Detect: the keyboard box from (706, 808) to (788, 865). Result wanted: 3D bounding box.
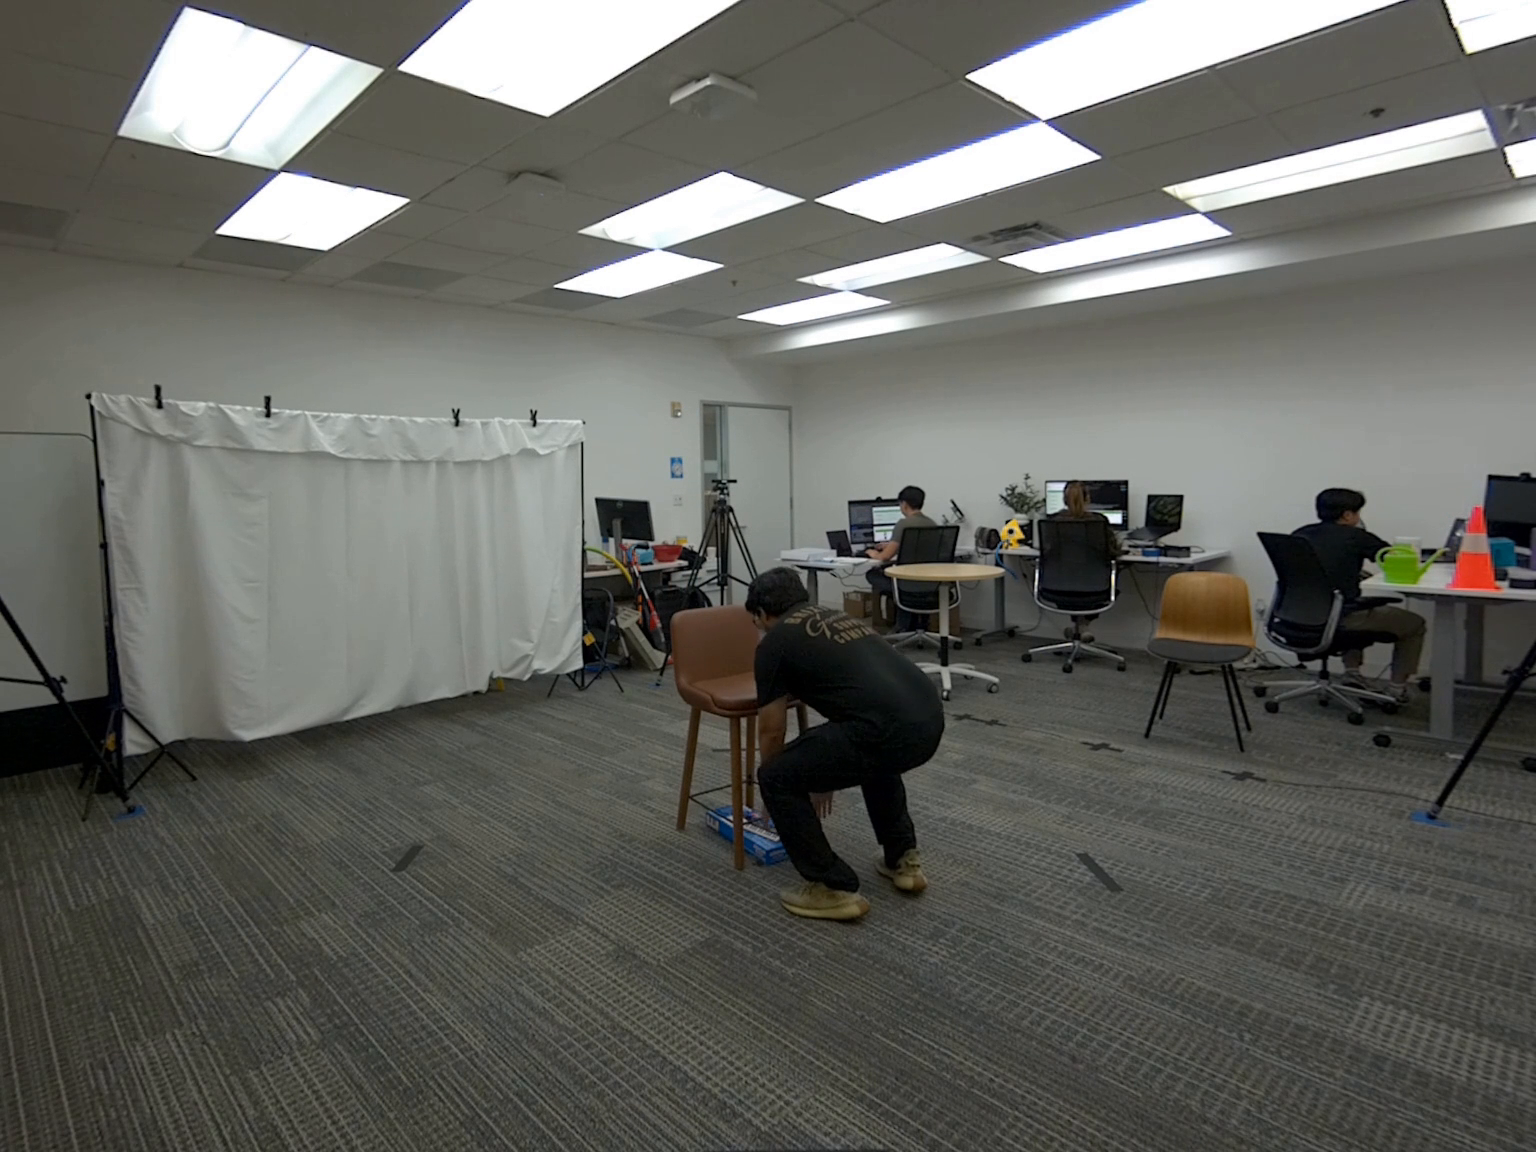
[{"bbox_3d":[-0.060,0.996,3.319,0.171,0.059,0.450,-3,6,-33],"label":"keyboard box"}]
